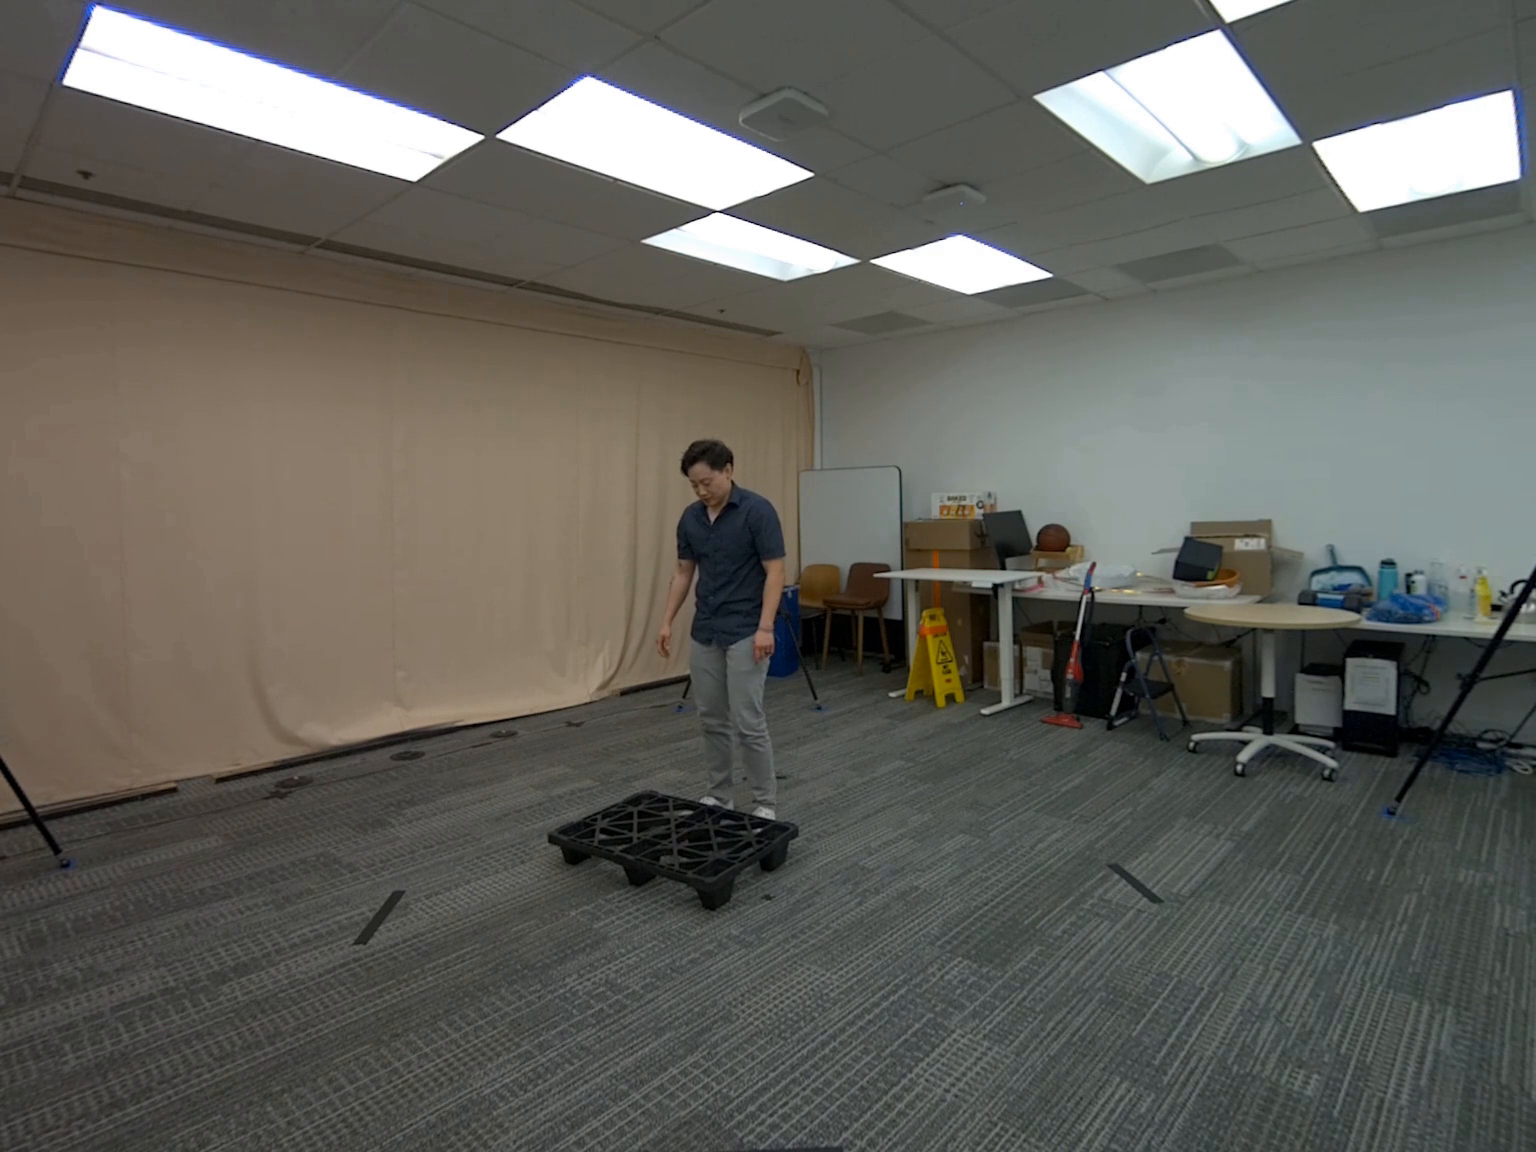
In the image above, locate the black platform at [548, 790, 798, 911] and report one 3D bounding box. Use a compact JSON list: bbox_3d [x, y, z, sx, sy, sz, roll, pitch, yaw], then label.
[{"bbox_3d":[-0.369,1.055,3.289,0.830,0.143,0.588,2,5,34],"label":"black platform"}]
